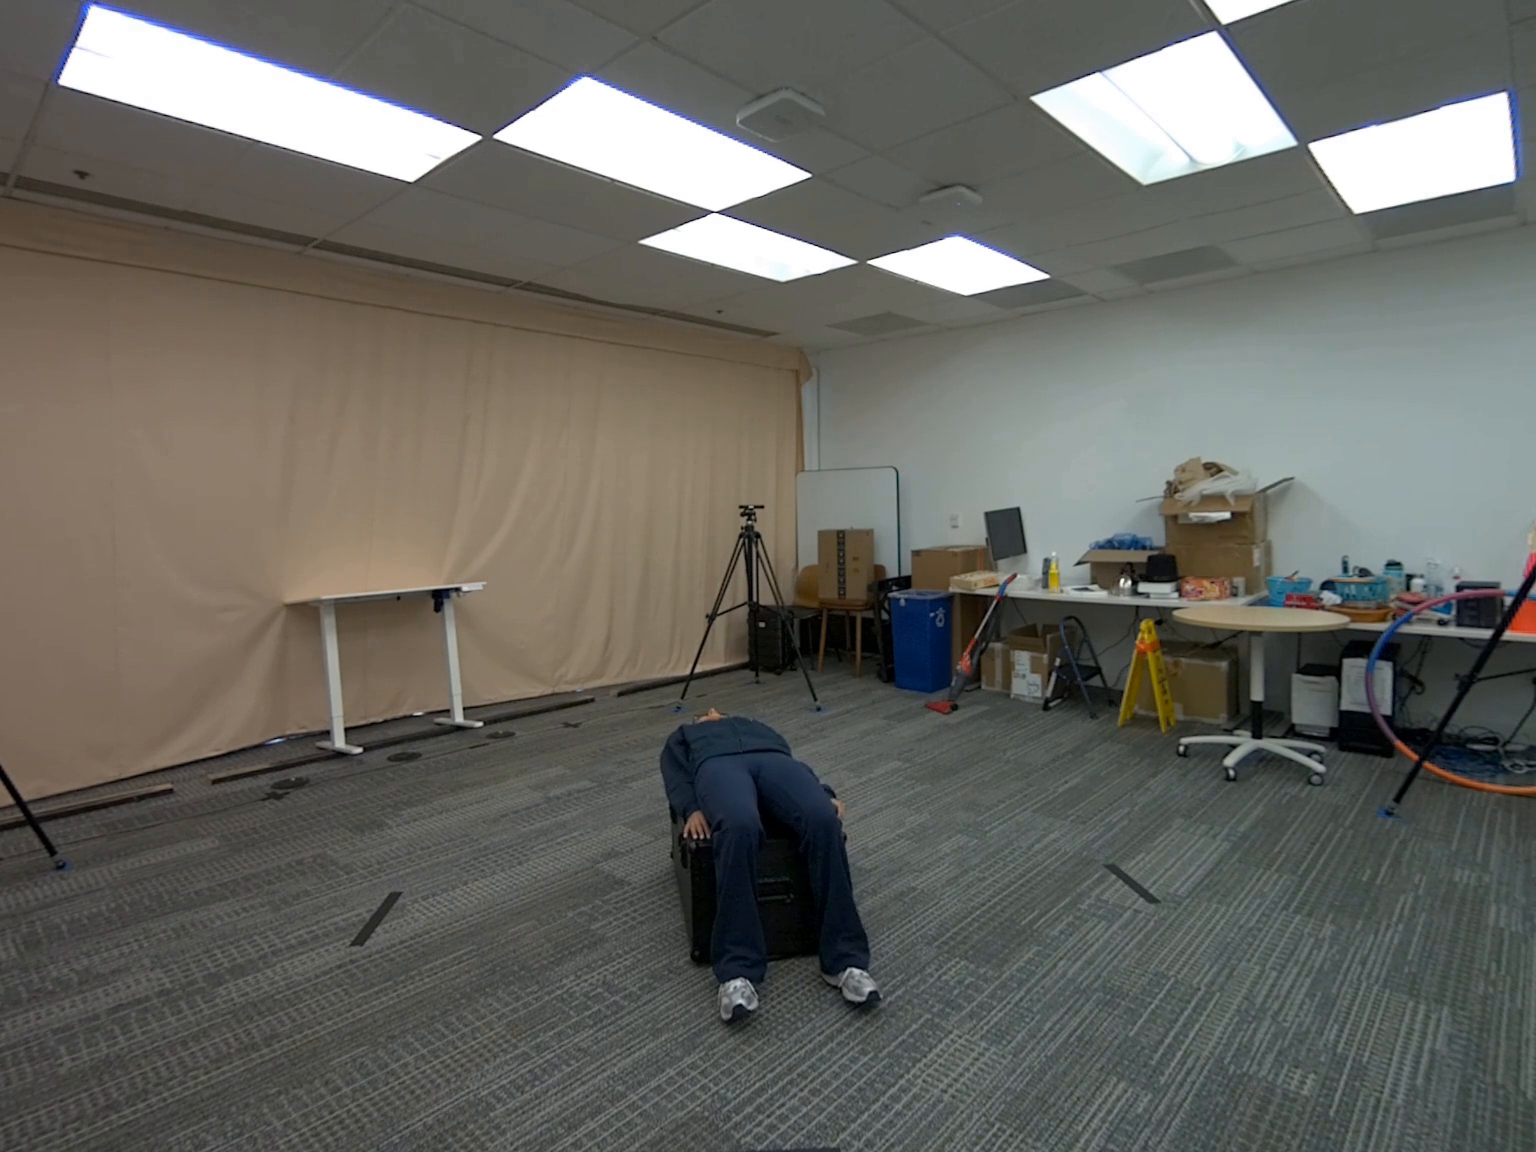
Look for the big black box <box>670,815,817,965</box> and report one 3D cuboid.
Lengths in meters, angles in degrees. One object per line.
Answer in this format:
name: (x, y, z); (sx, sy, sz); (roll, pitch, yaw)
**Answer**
big black box: (-0.071, 0.954, 2.976); (0.516, 0.395, 0.873); (-3, 5, -11)
